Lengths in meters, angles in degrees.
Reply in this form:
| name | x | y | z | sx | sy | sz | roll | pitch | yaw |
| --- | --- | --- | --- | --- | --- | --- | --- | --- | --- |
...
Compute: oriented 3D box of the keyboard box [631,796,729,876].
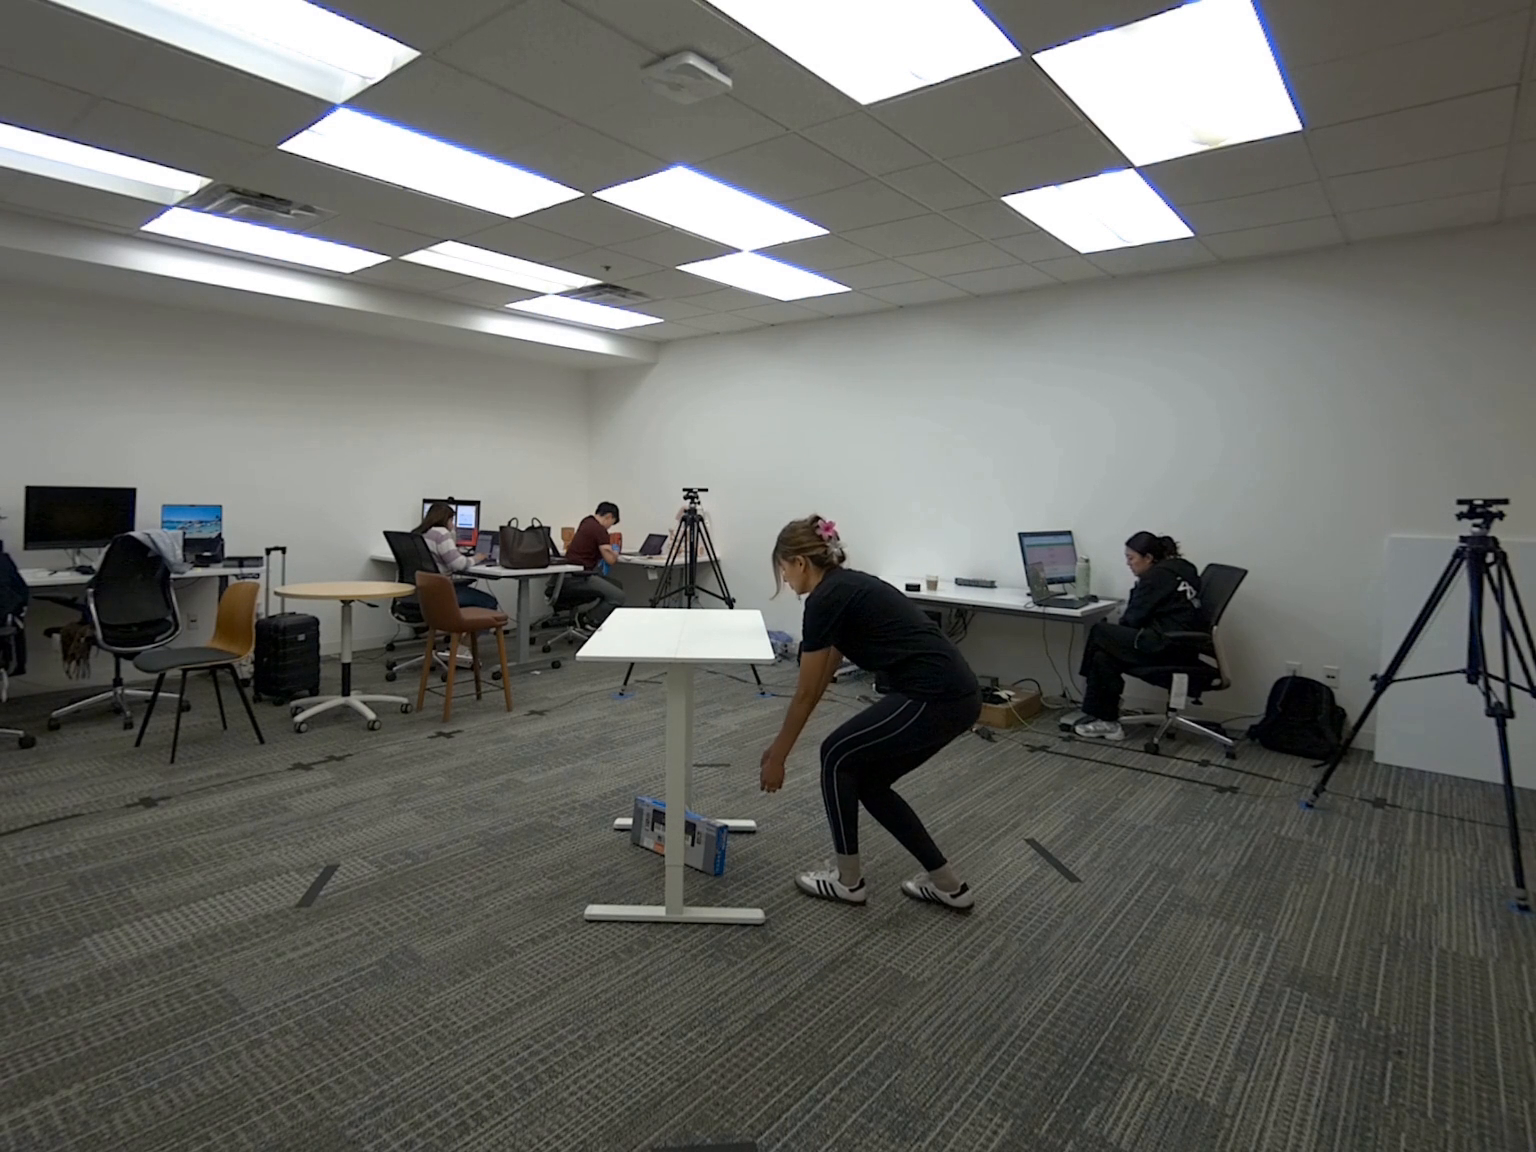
| name | x | y | z | sx | sy | sz | roll | pitch | yaw |
| --- | --- | --- | --- | --- | --- | --- | --- | --- | --- |
| keyboard box | -0.352 | 0.970 | 3.209 | 0.451 | 0.176 | 0.057 | 5 | -2 | 39 |
